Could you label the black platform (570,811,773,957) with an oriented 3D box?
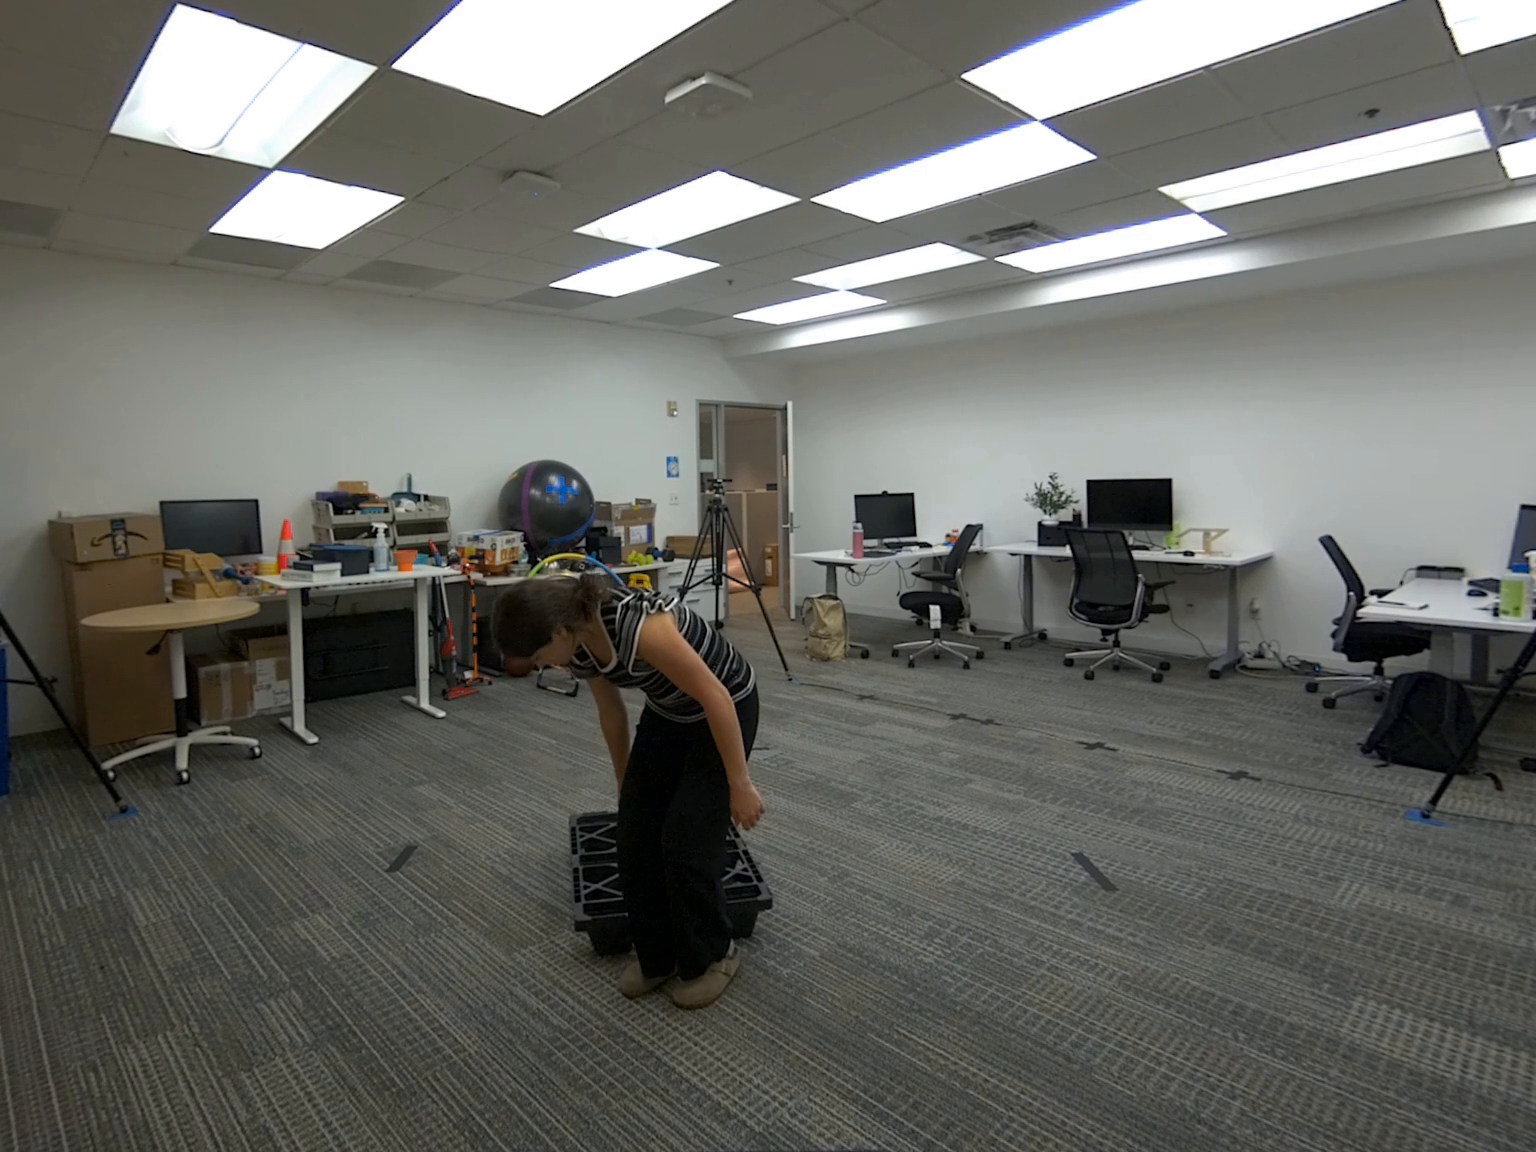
[{"bbox_3d":[-0.366,1.003,2.912,0.598,0.142,0.819,-3,7,-13],"label":"black platform"}]
